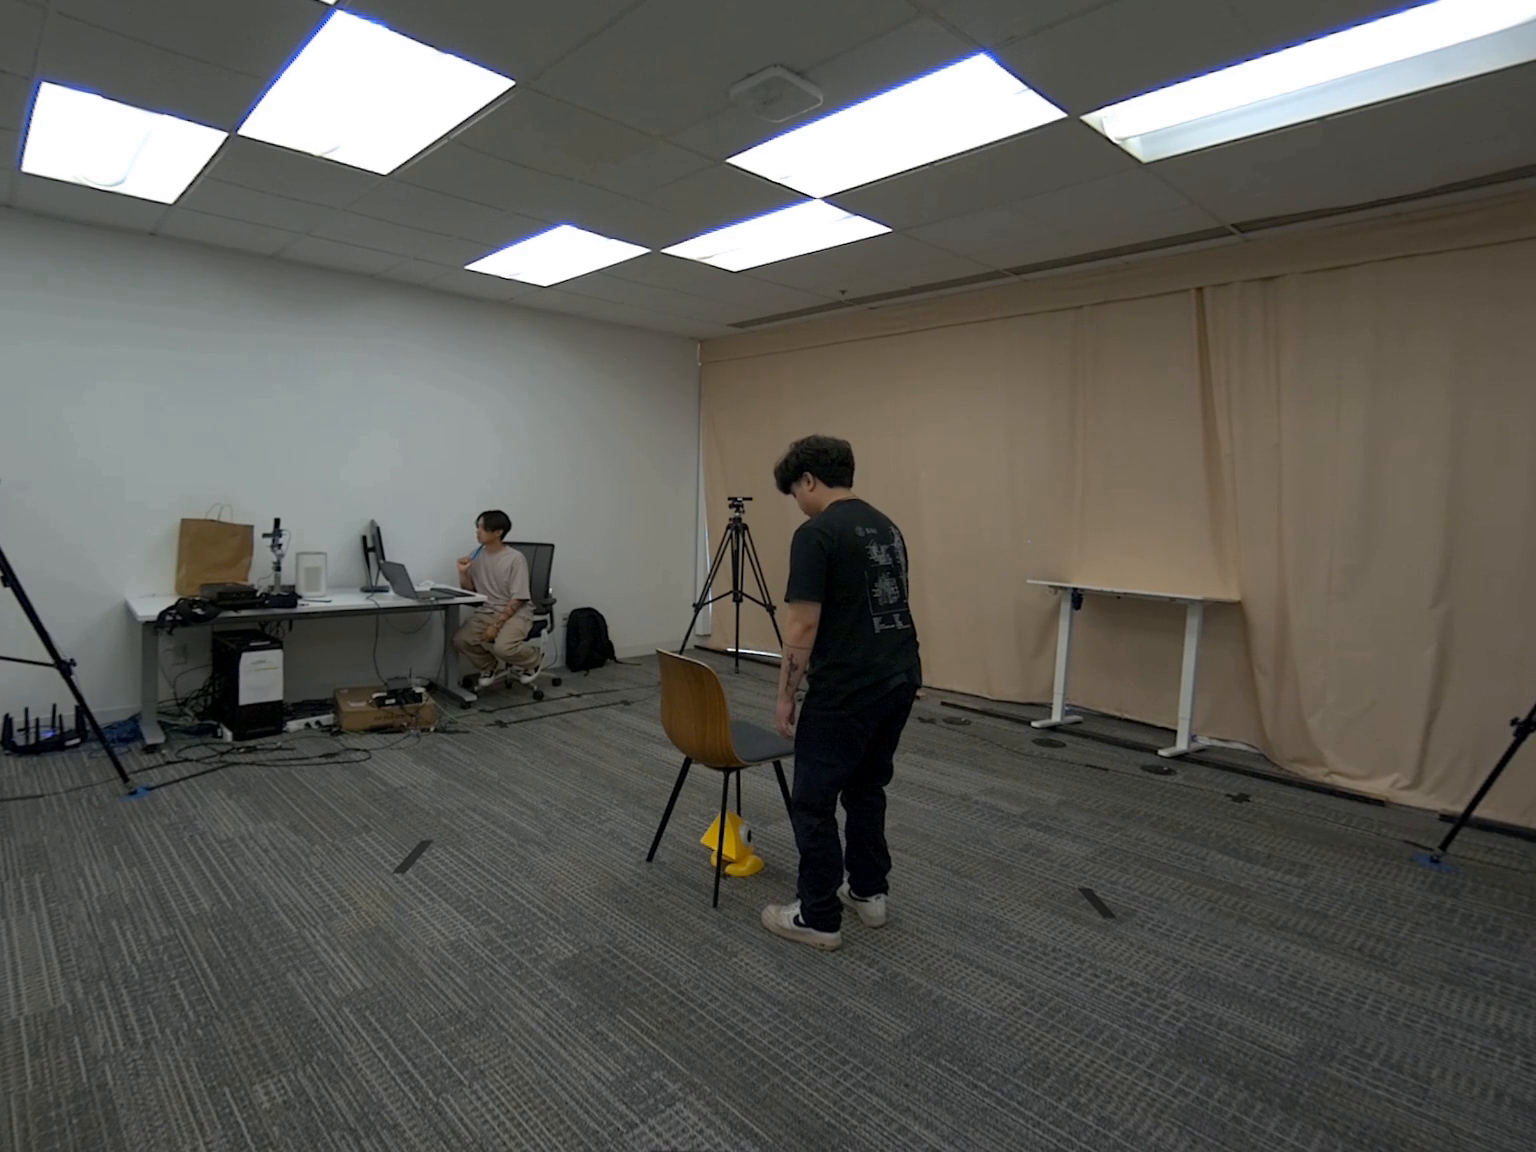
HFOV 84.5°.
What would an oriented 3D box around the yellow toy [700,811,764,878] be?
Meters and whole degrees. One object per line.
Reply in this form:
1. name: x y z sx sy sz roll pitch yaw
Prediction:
1. yellow toy: -0.130 0.989 3.200 0.188 0.230 0.210 -1 5 -42
